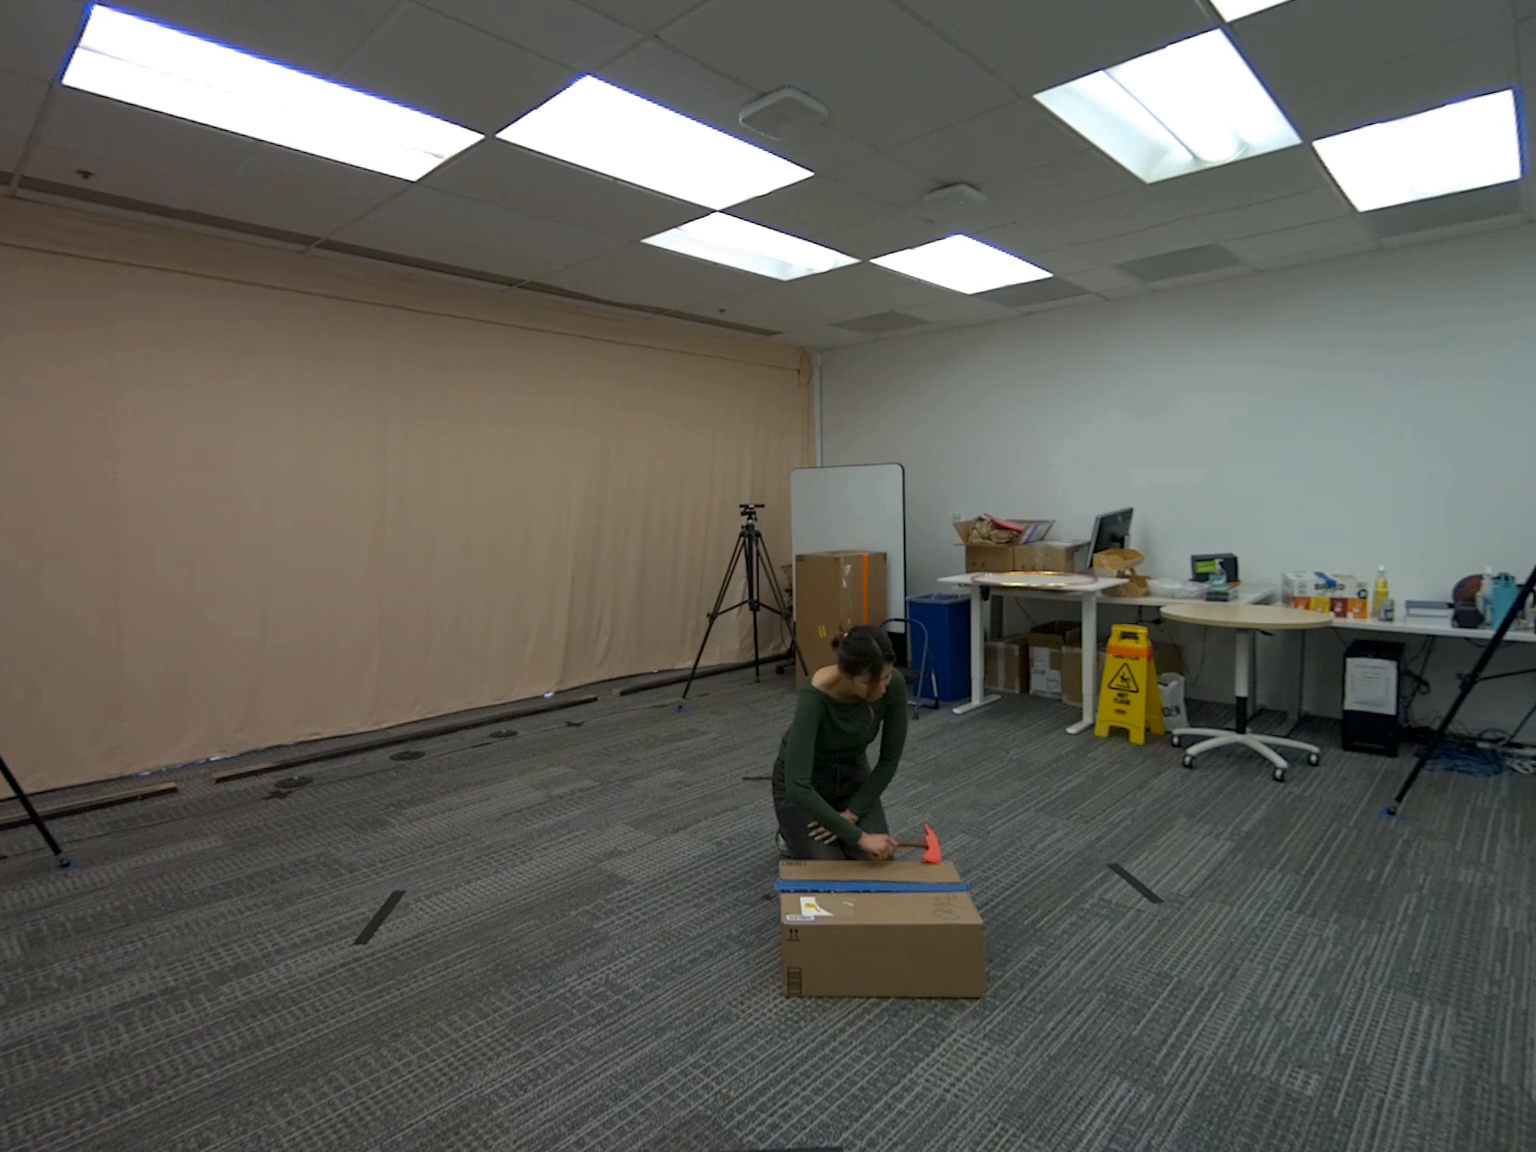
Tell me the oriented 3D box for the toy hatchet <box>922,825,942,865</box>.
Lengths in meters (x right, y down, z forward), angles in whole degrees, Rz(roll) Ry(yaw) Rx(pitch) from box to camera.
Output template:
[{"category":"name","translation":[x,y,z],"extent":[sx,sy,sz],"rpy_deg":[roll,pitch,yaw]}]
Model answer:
[{"category":"toy hatchet","translation":[0.453,0.897,2.730],"extent":[0.264,0.029,0.135],"rpy_deg":[-13,47,-25]}]
